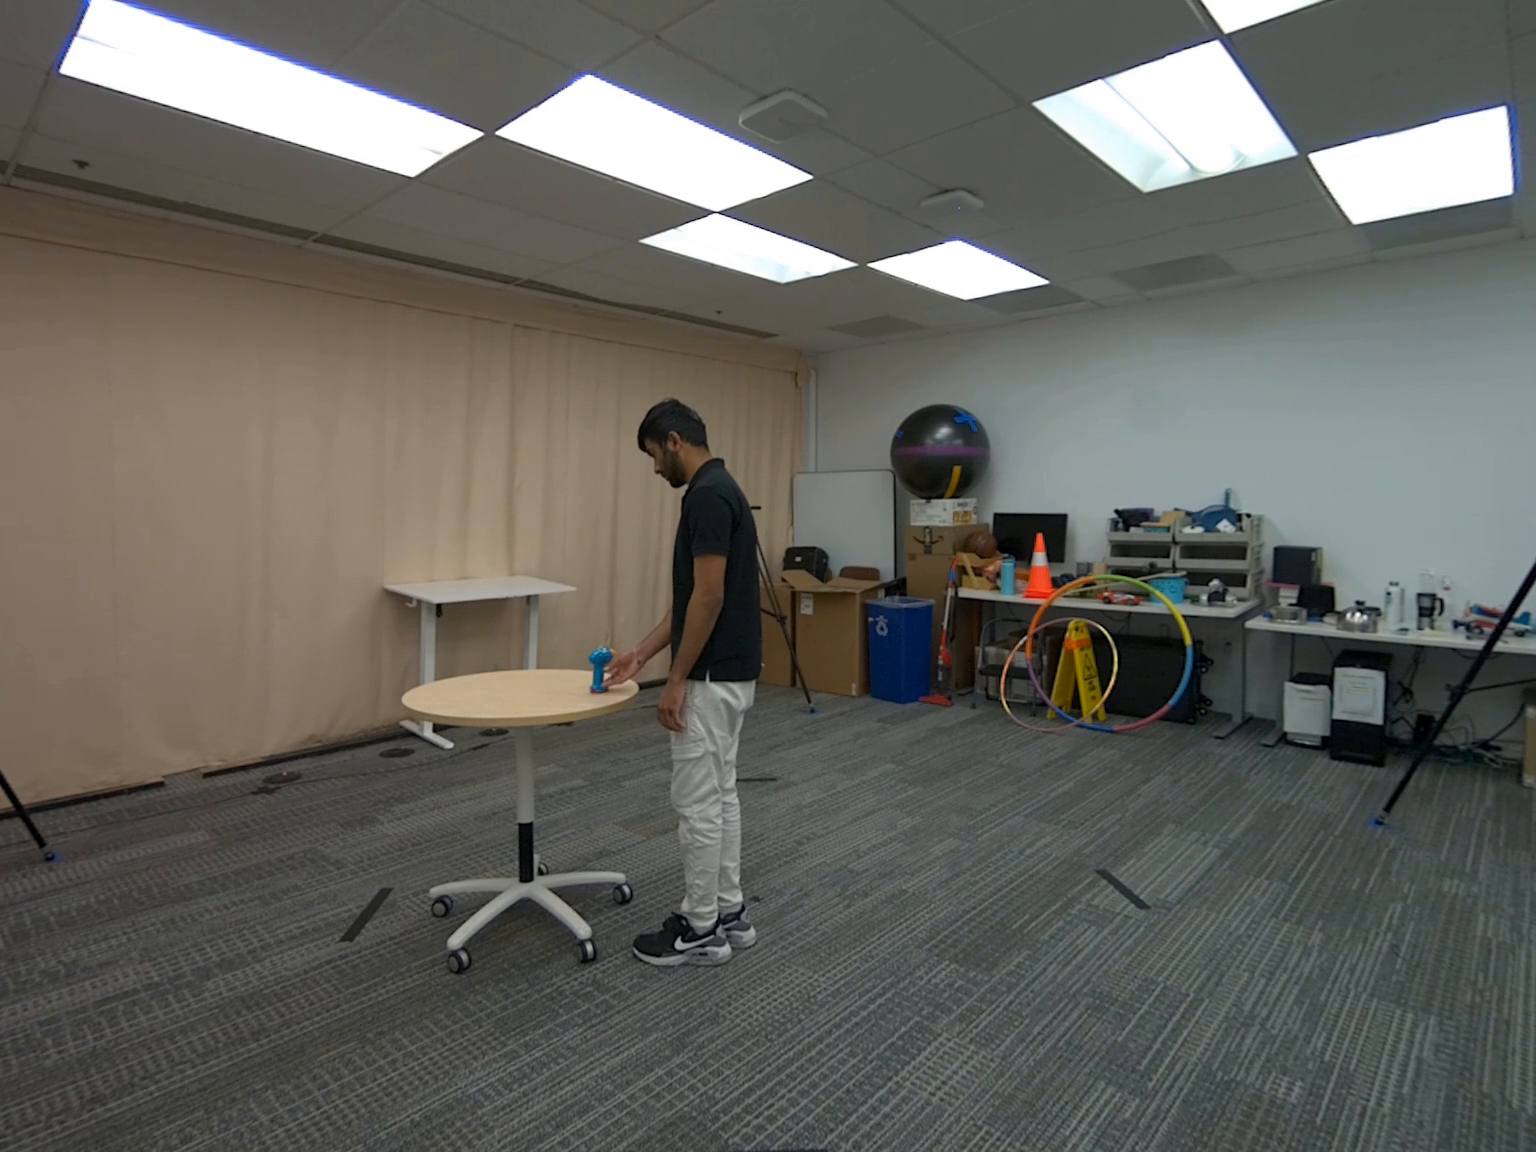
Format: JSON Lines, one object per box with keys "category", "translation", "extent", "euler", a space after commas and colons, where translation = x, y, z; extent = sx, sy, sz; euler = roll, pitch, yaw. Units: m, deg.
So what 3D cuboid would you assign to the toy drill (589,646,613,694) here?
{"category": "toy drill", "translation": [-0.551, 0.309, 2.816], "extent": [0.062, 0.146, 0.168], "euler": [3, 5, 9]}
